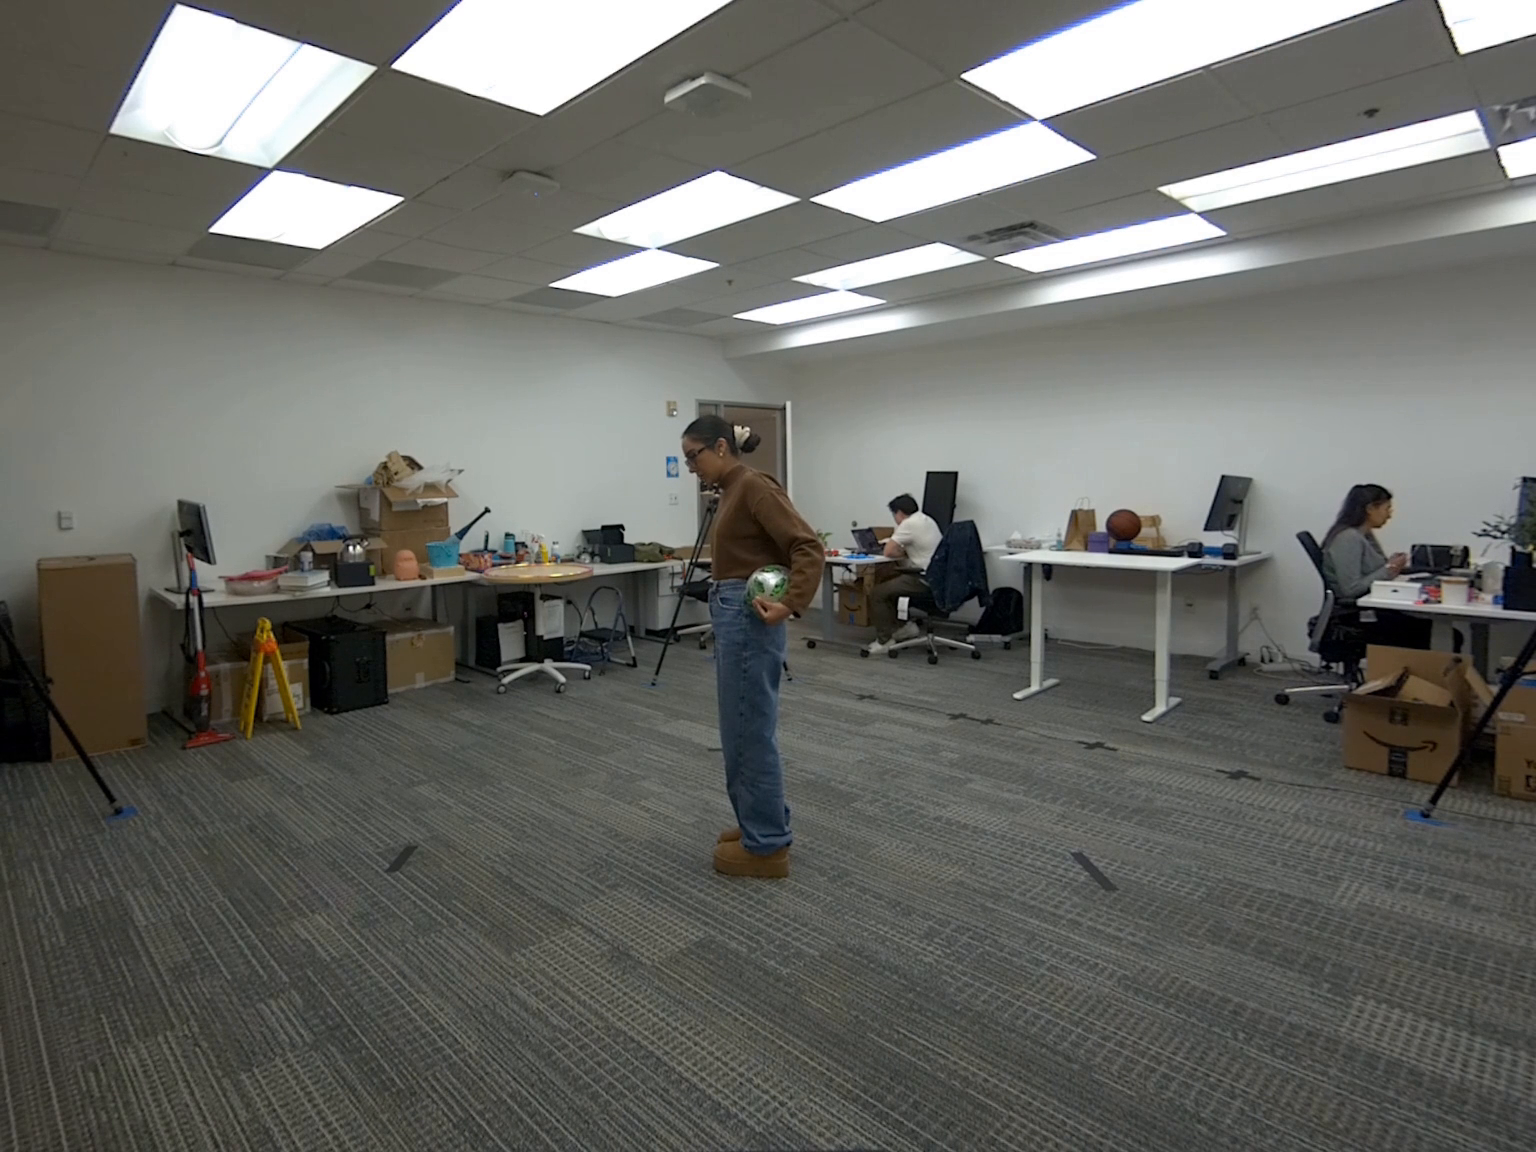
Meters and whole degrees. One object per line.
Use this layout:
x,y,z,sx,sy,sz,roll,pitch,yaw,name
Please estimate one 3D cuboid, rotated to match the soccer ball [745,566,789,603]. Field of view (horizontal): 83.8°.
0.024,0.057,2.856,0.187,0.187,0.188,-1,5,-2,soccer ball
